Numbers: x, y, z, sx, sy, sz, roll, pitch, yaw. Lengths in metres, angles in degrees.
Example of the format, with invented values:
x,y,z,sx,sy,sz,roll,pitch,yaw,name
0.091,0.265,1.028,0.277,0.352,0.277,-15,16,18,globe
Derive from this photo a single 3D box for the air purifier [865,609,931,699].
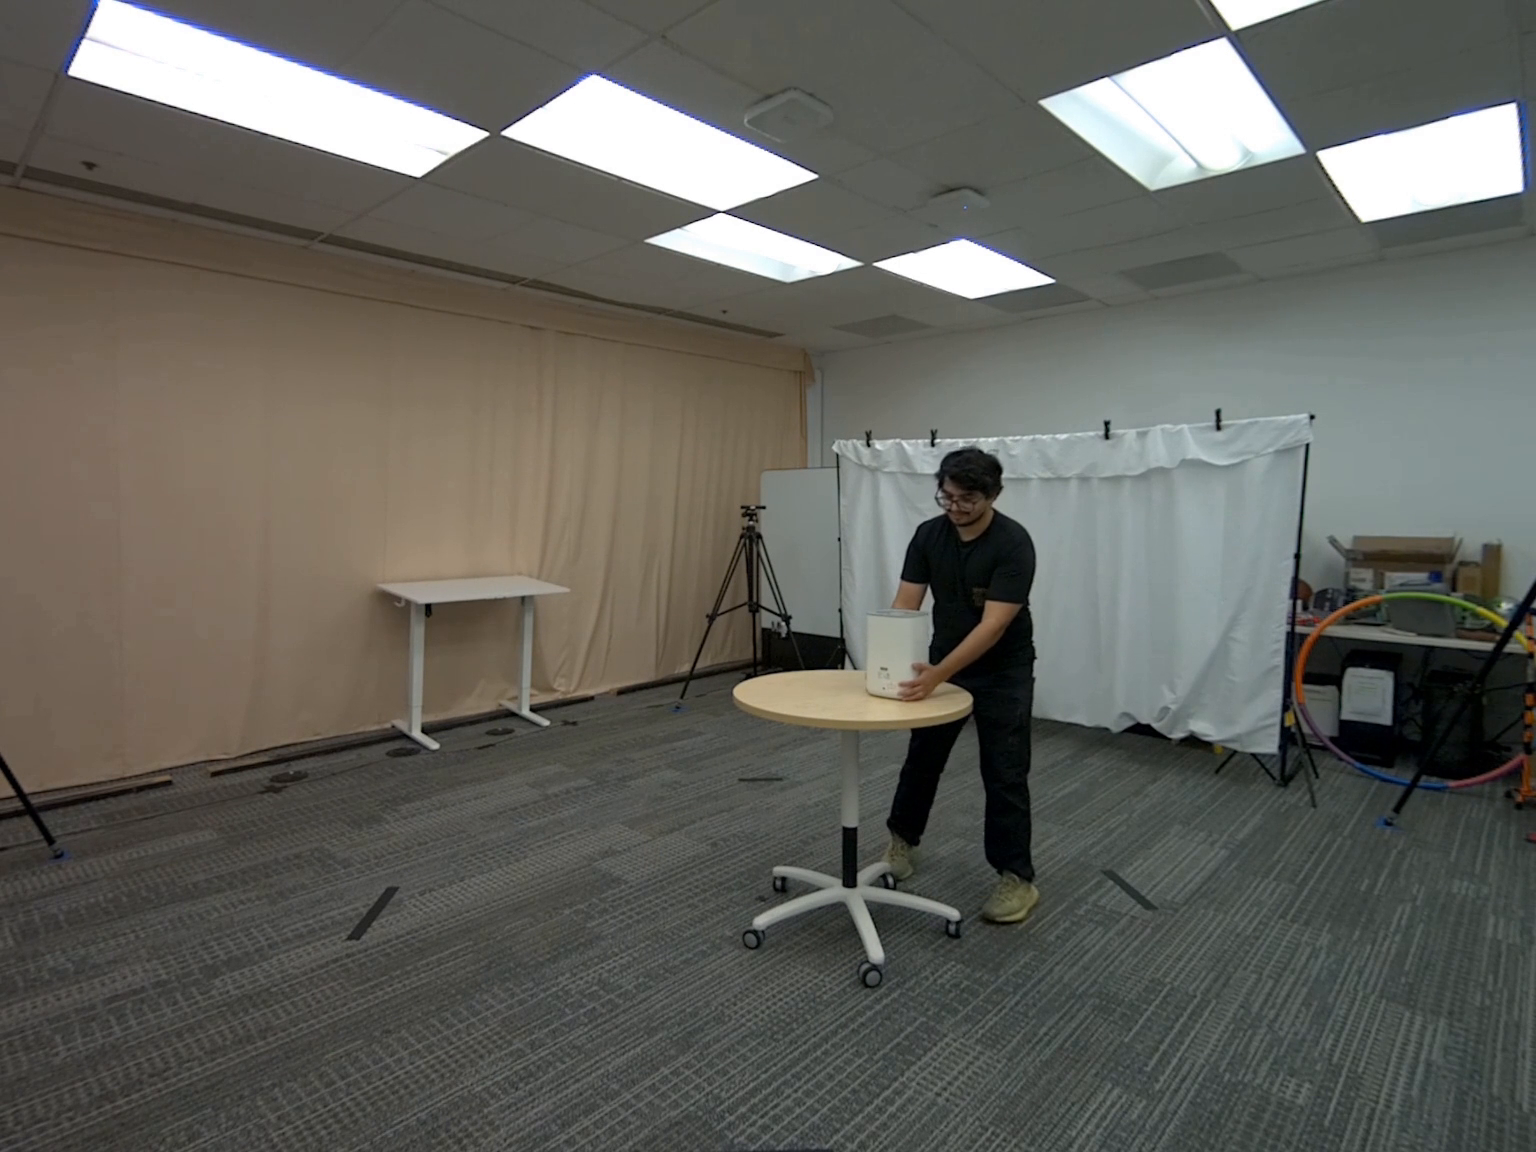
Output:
x,y,z,sx,sy,sz,roll,pitch,yaw,name
0.424,0.251,2.689,0.177,0.265,0.166,2,4,40,air purifier
